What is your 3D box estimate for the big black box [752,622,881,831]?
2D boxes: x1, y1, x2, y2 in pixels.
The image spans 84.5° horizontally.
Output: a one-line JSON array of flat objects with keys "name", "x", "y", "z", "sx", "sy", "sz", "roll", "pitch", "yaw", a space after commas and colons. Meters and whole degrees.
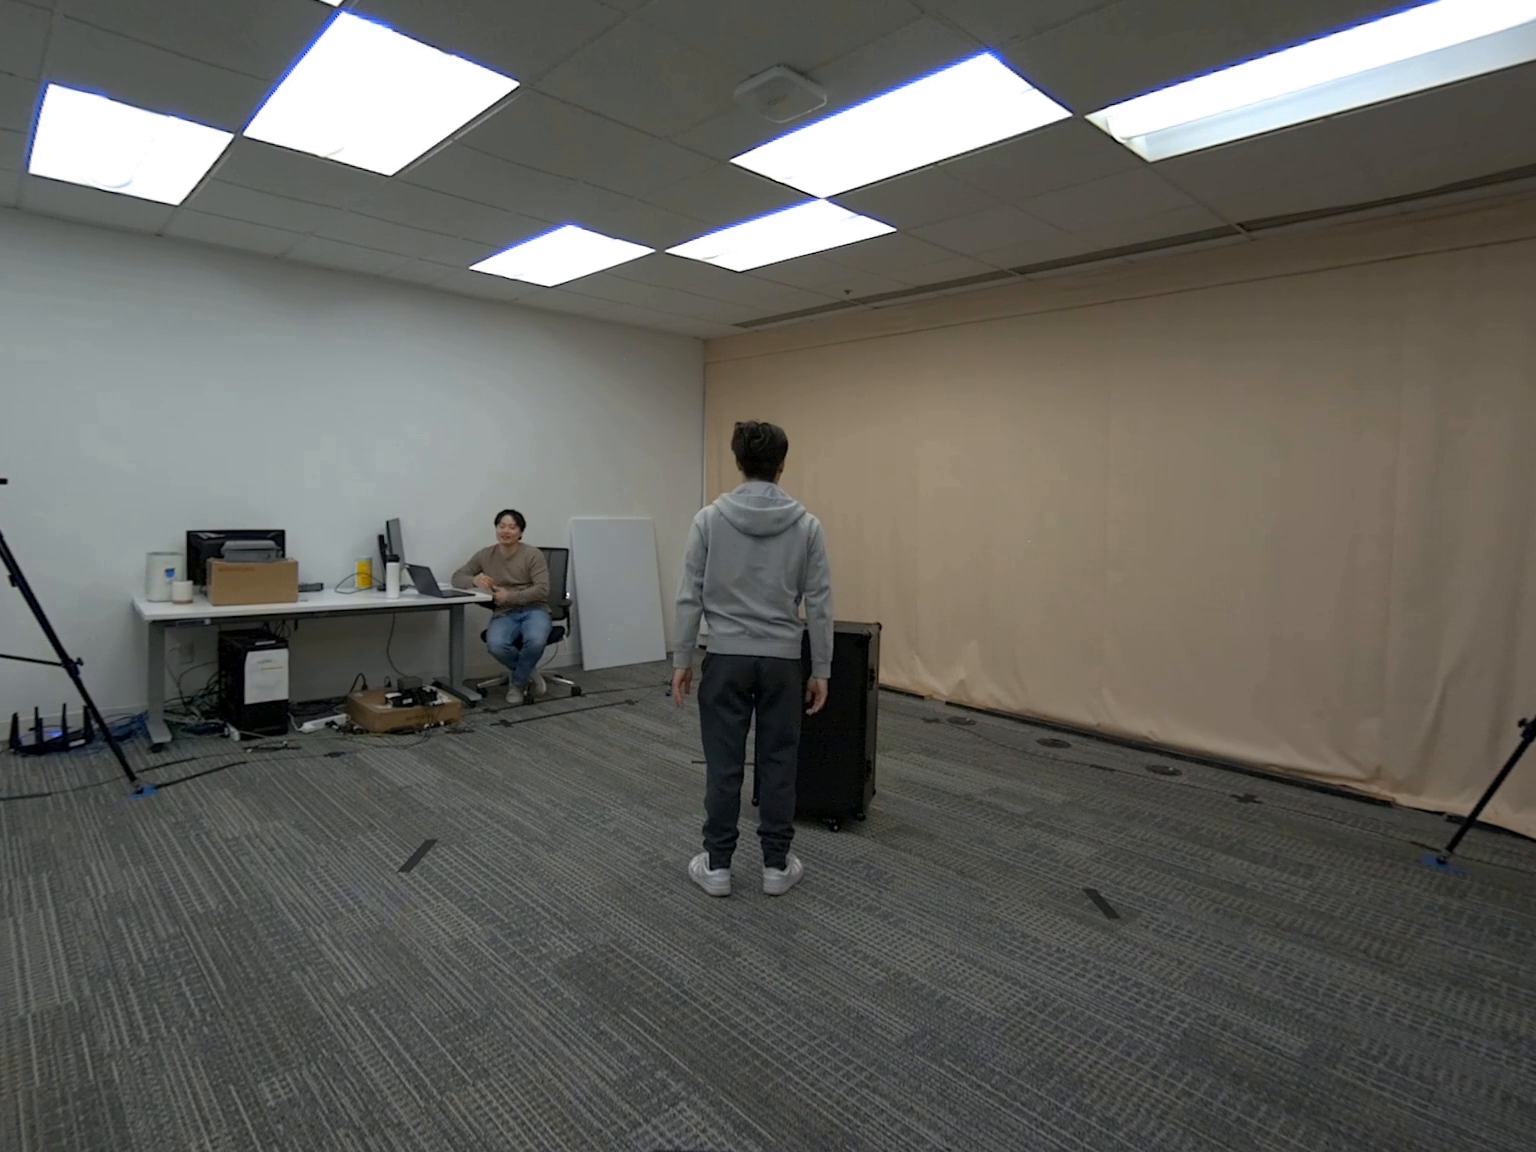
[{"name": "big black box", "x": 0.219, "y": 0.637, "z": 3.729, "sx": 0.529, "sy": 0.860, "sz": 0.391, "roll": 3, "pitch": 3, "yaw": 17}]
